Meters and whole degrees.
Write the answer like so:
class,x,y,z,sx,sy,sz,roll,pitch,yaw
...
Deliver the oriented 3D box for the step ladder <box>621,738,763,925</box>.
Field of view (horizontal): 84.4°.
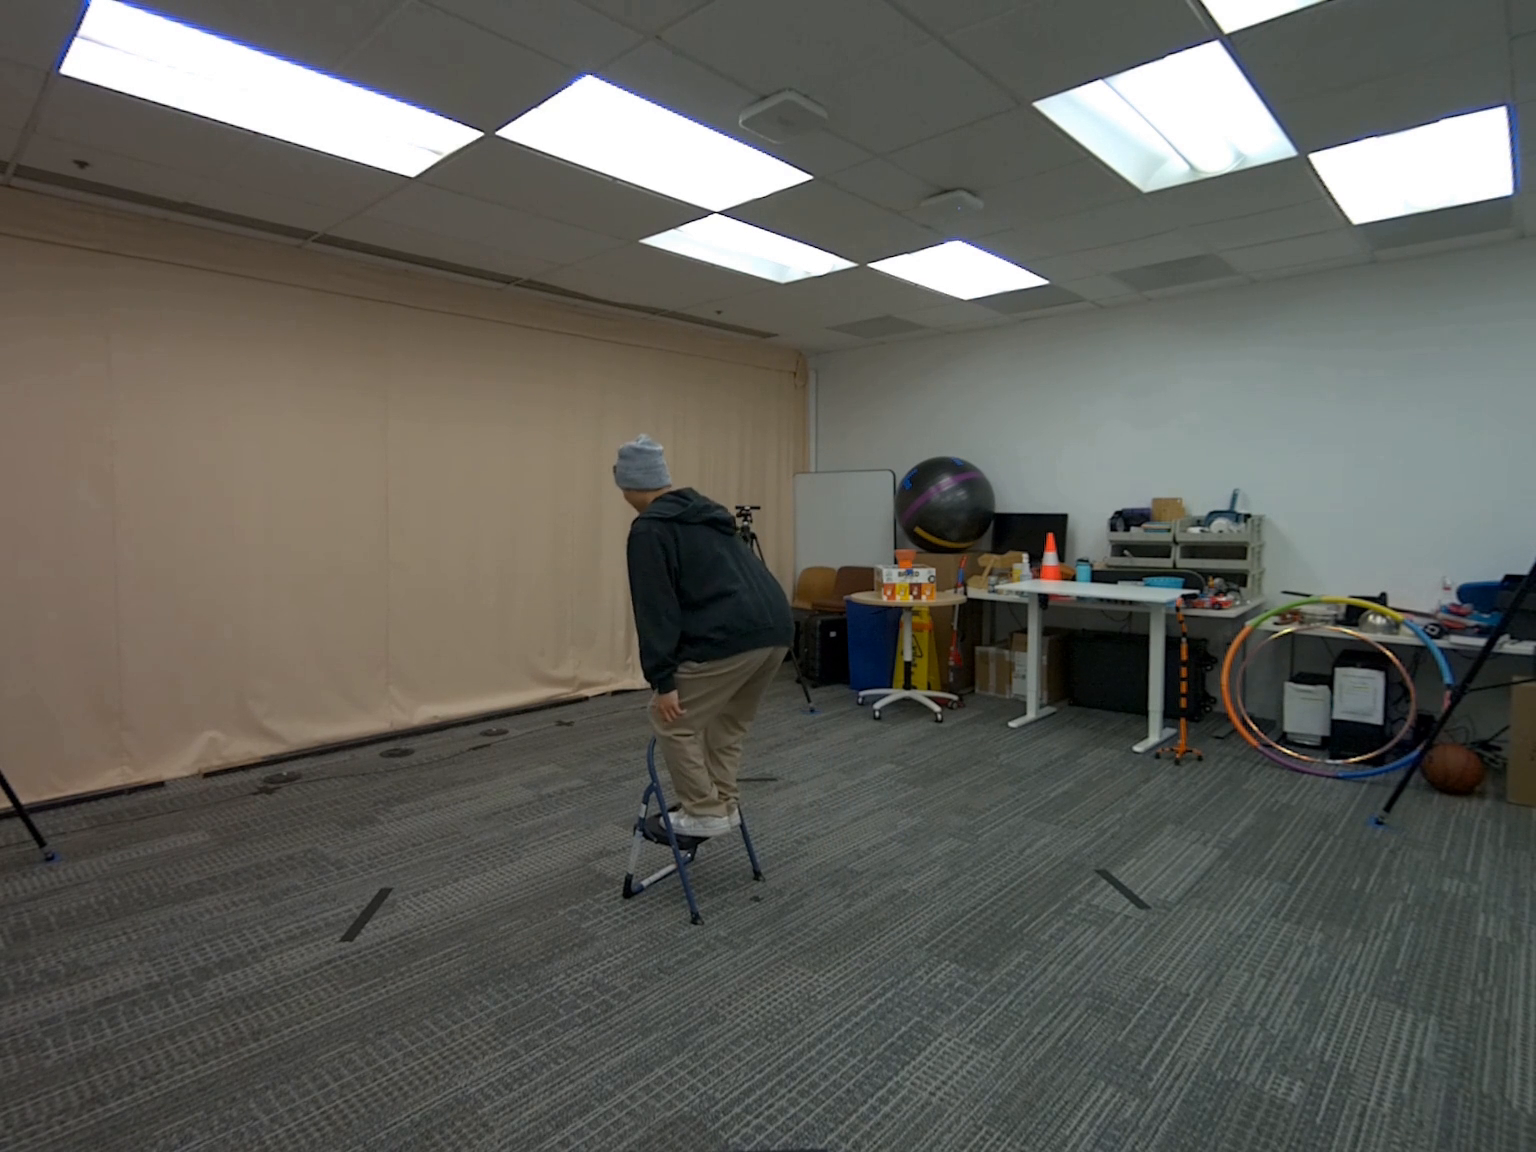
class,x,y,z,sx,sy,sz,roll,pitch,yaw
step ladder,-0.270,0.842,3.054,0.360,0.605,0.419,1,4,32
